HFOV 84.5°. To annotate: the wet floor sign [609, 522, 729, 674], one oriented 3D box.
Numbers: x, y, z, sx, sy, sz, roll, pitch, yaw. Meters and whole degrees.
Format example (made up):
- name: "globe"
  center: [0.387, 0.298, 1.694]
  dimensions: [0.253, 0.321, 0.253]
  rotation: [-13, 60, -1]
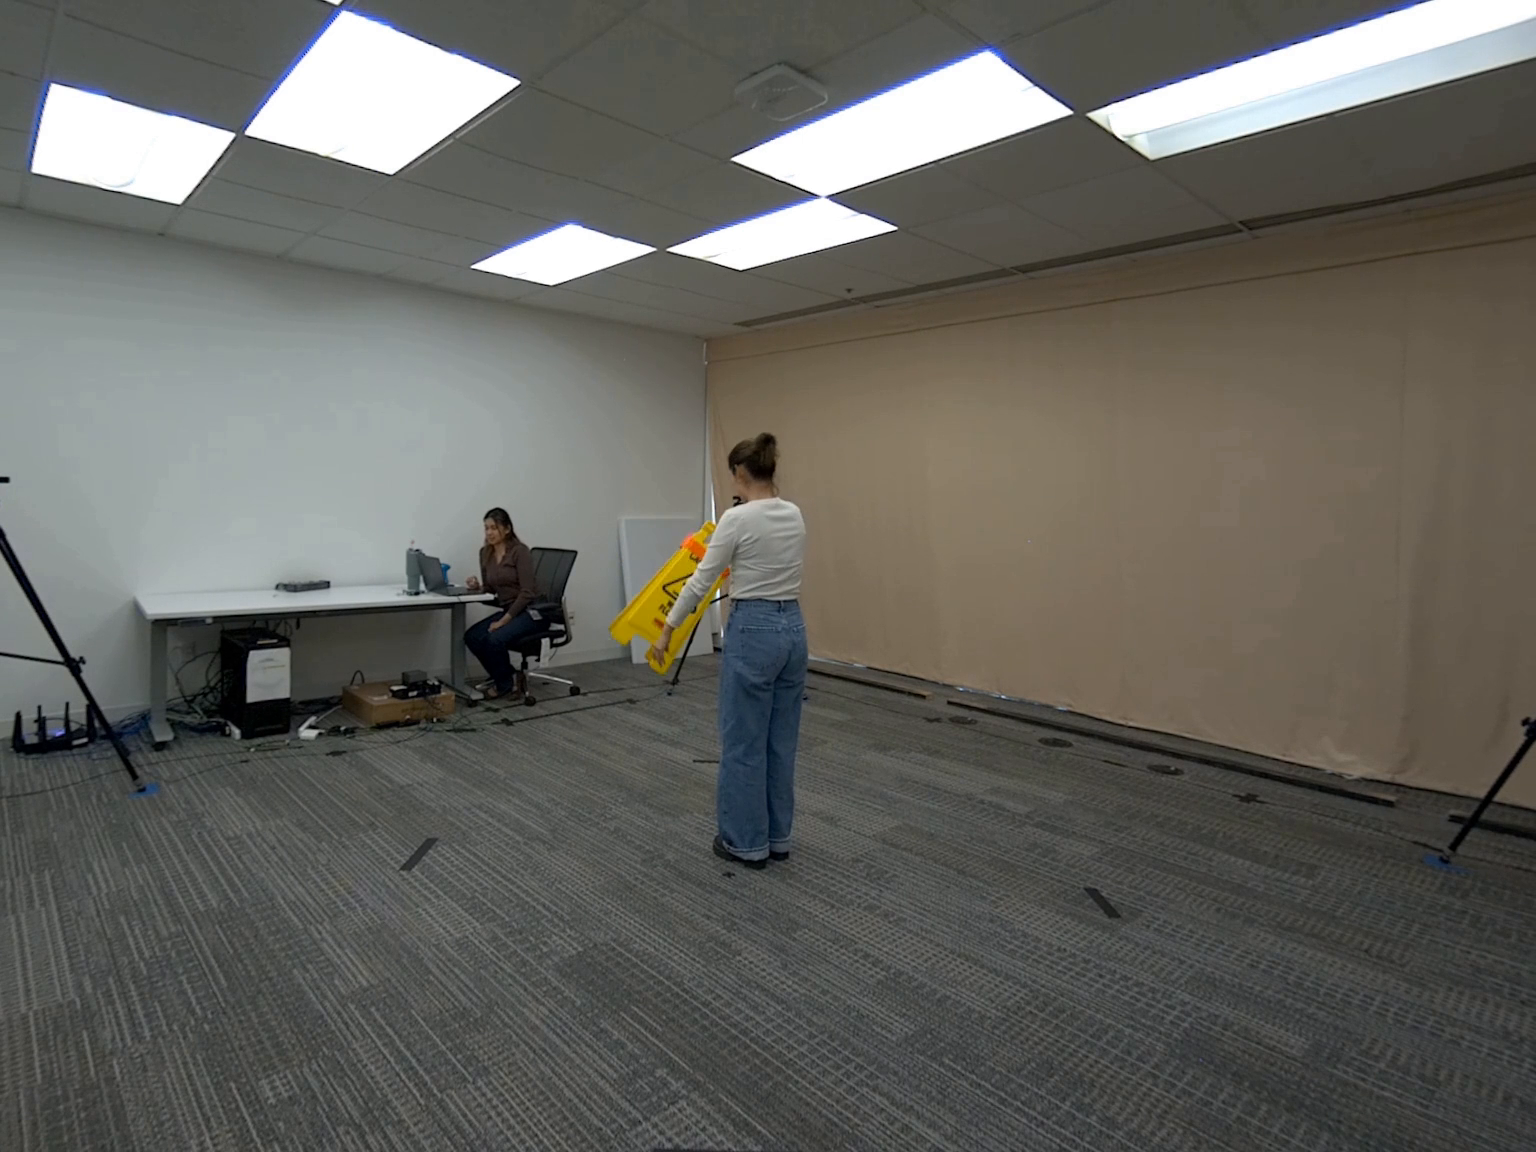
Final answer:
- name: "wet floor sign"
  center: [-0.377, 0.060, 3.643]
  dimensions: [0.279, 0.646, 0.292]
  rotation: [39, -6, -10]
